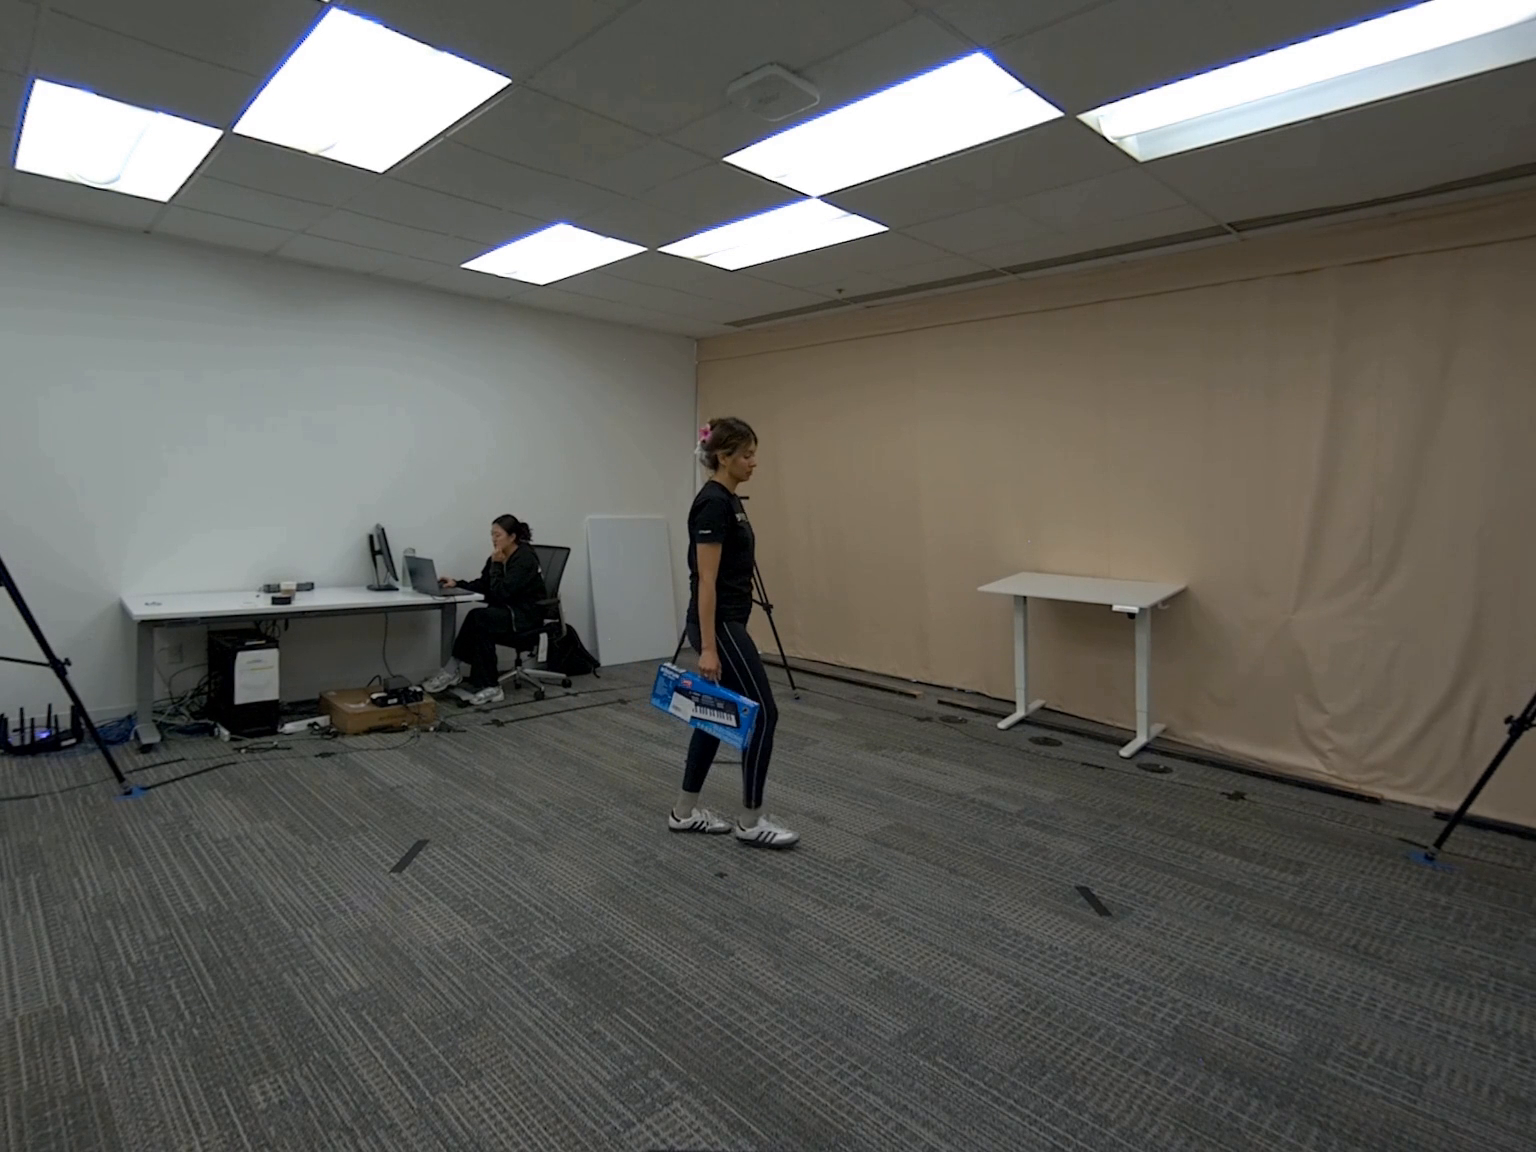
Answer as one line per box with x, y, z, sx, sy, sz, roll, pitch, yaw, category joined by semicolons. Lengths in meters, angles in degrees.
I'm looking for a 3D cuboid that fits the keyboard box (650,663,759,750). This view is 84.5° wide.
-0.251;0.493;3.210;0.448;0.175;0.058;21;12;28;keyboard box
